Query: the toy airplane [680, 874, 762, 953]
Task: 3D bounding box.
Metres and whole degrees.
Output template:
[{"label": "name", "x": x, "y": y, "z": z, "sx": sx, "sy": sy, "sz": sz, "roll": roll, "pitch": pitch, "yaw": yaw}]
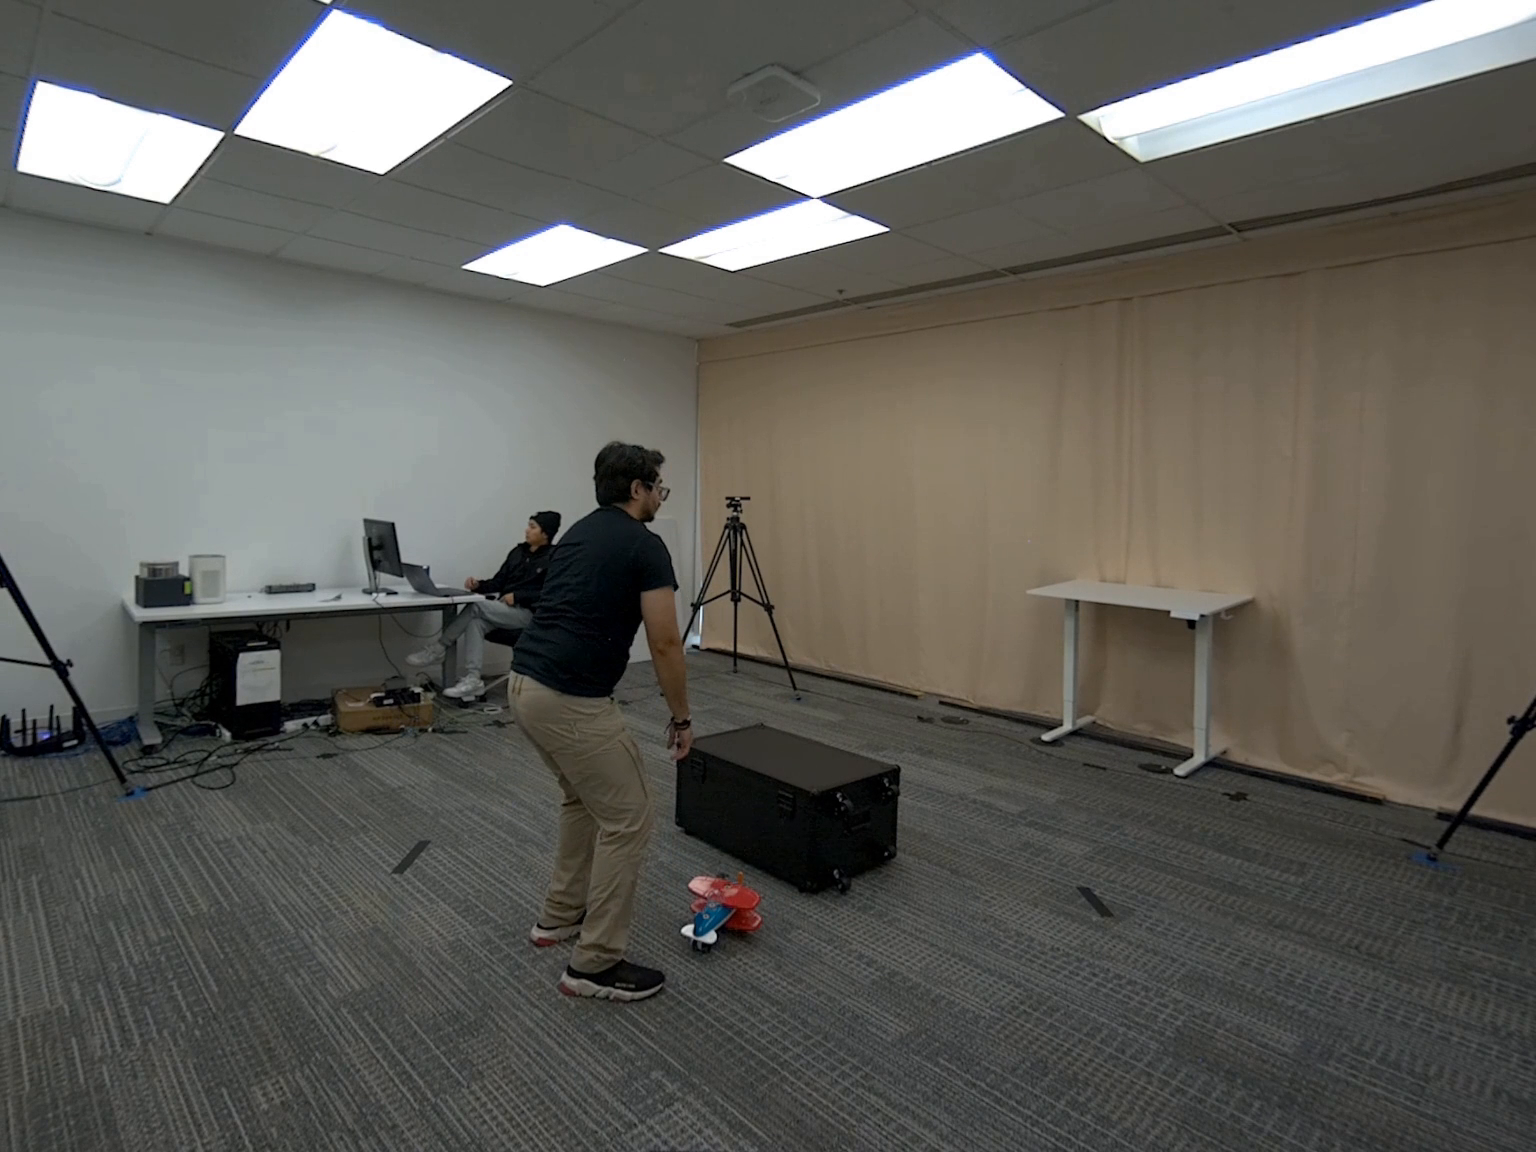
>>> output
[{"label": "toy airplane", "x": -0.149, "y": 1.076, "z": 2.653, "sx": 0.252, "sy": 0.156, "sz": 0.259, "roll": 2, "pitch": 4, "yaw": 3}]
